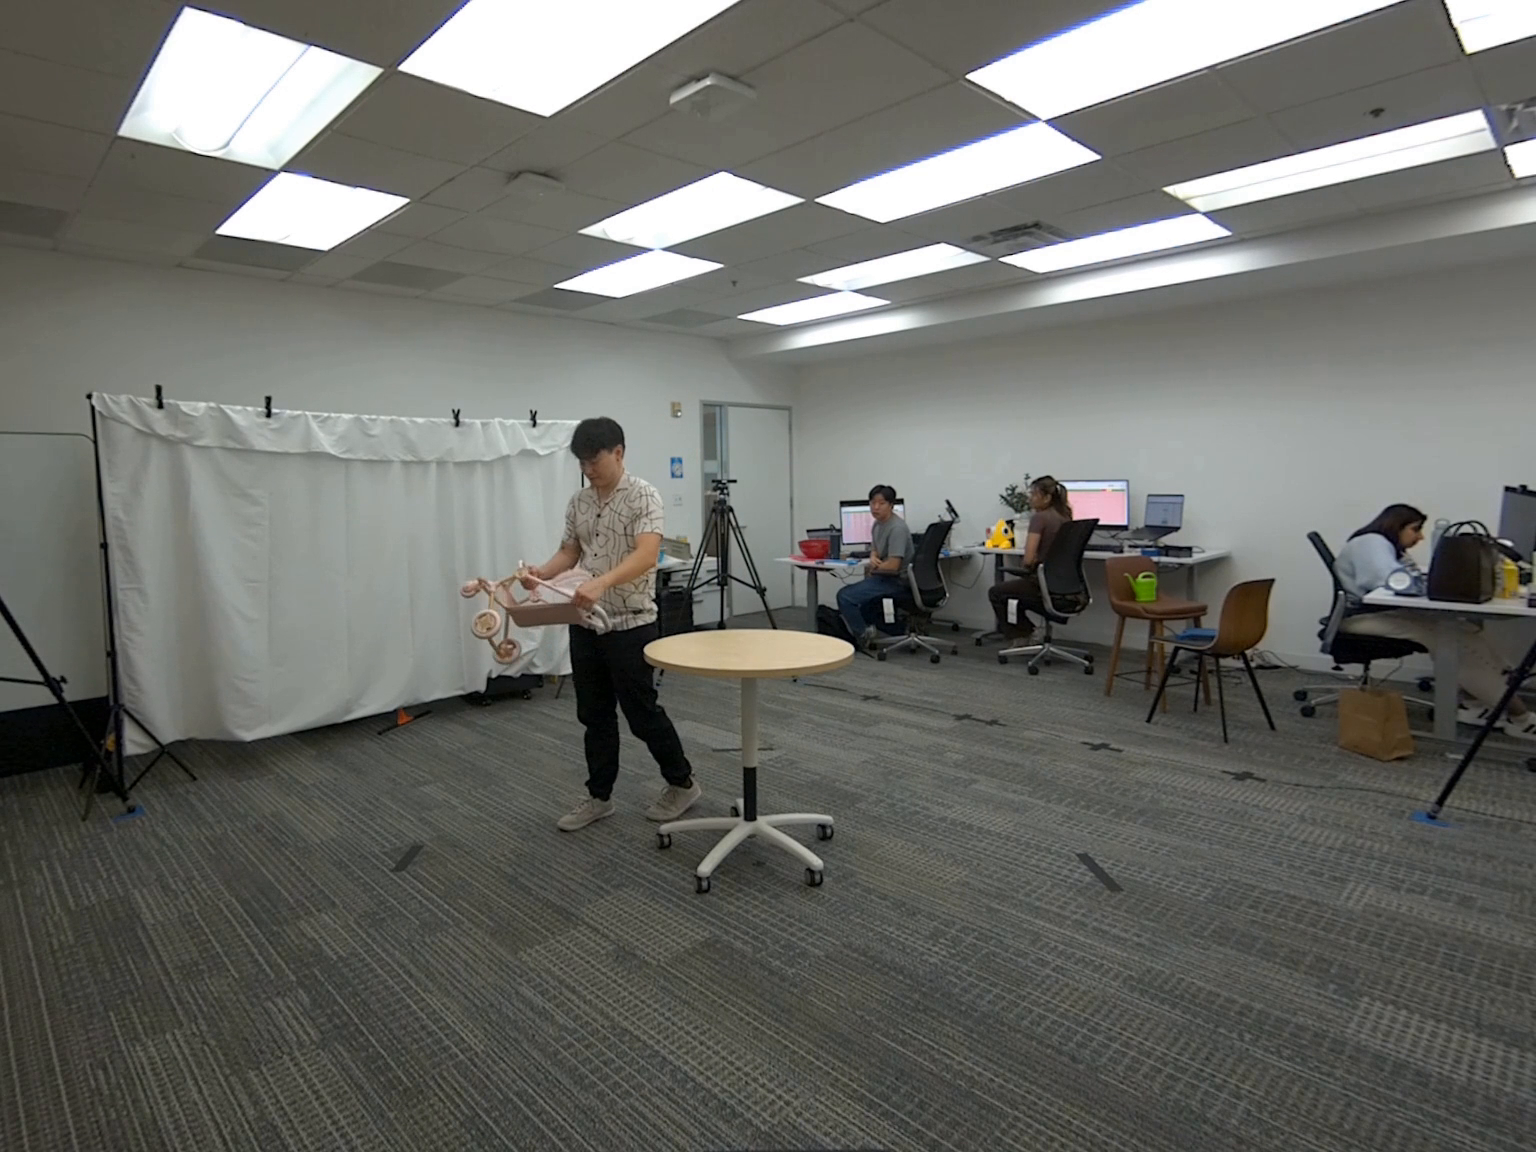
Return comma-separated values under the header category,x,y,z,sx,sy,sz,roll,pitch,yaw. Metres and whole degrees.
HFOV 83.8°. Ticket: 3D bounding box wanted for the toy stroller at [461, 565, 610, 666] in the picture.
category,x,y,z,sx,sy,sz,roll,pitch,yaw
toy stroller,-0.884,0.106,3.215,0.533,0.353,0.273,-16,-34,-5
